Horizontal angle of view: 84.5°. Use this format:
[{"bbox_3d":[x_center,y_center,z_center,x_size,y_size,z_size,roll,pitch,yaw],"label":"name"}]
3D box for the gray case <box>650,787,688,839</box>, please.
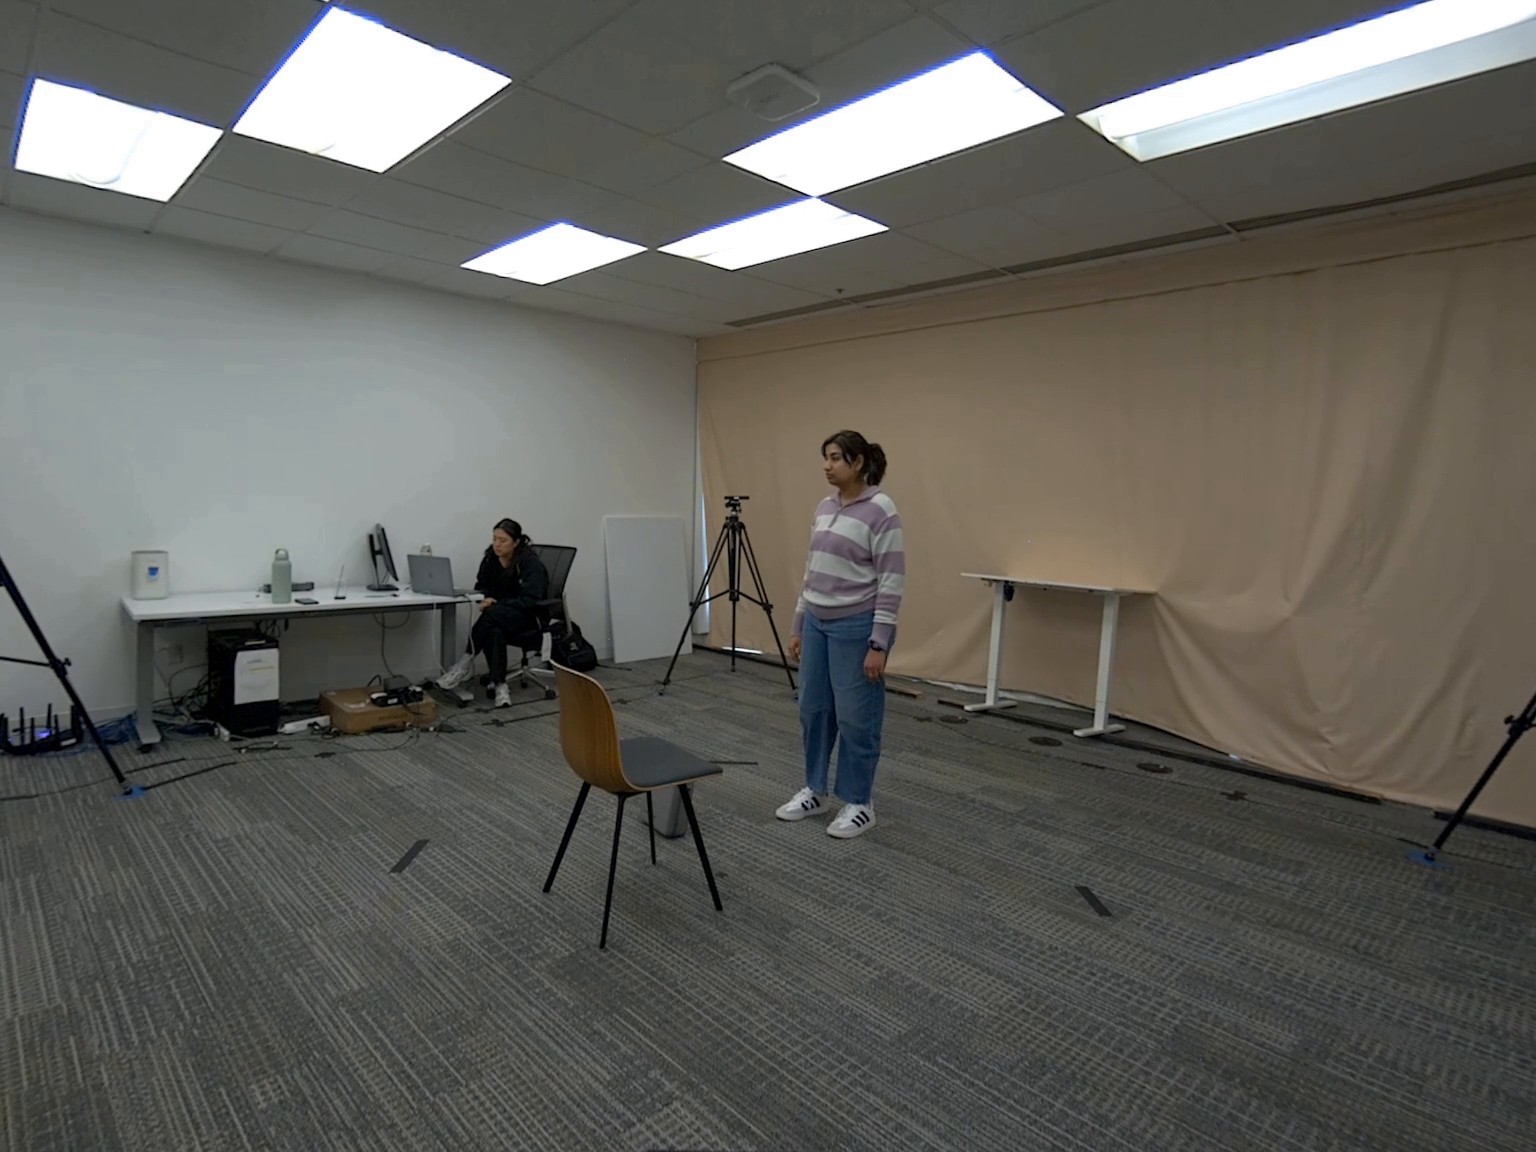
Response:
[{"bbox_3d":[-0.433,0.921,3.527,0.102,0.260,0.263,7,1,-31],"label":"gray case"}]
